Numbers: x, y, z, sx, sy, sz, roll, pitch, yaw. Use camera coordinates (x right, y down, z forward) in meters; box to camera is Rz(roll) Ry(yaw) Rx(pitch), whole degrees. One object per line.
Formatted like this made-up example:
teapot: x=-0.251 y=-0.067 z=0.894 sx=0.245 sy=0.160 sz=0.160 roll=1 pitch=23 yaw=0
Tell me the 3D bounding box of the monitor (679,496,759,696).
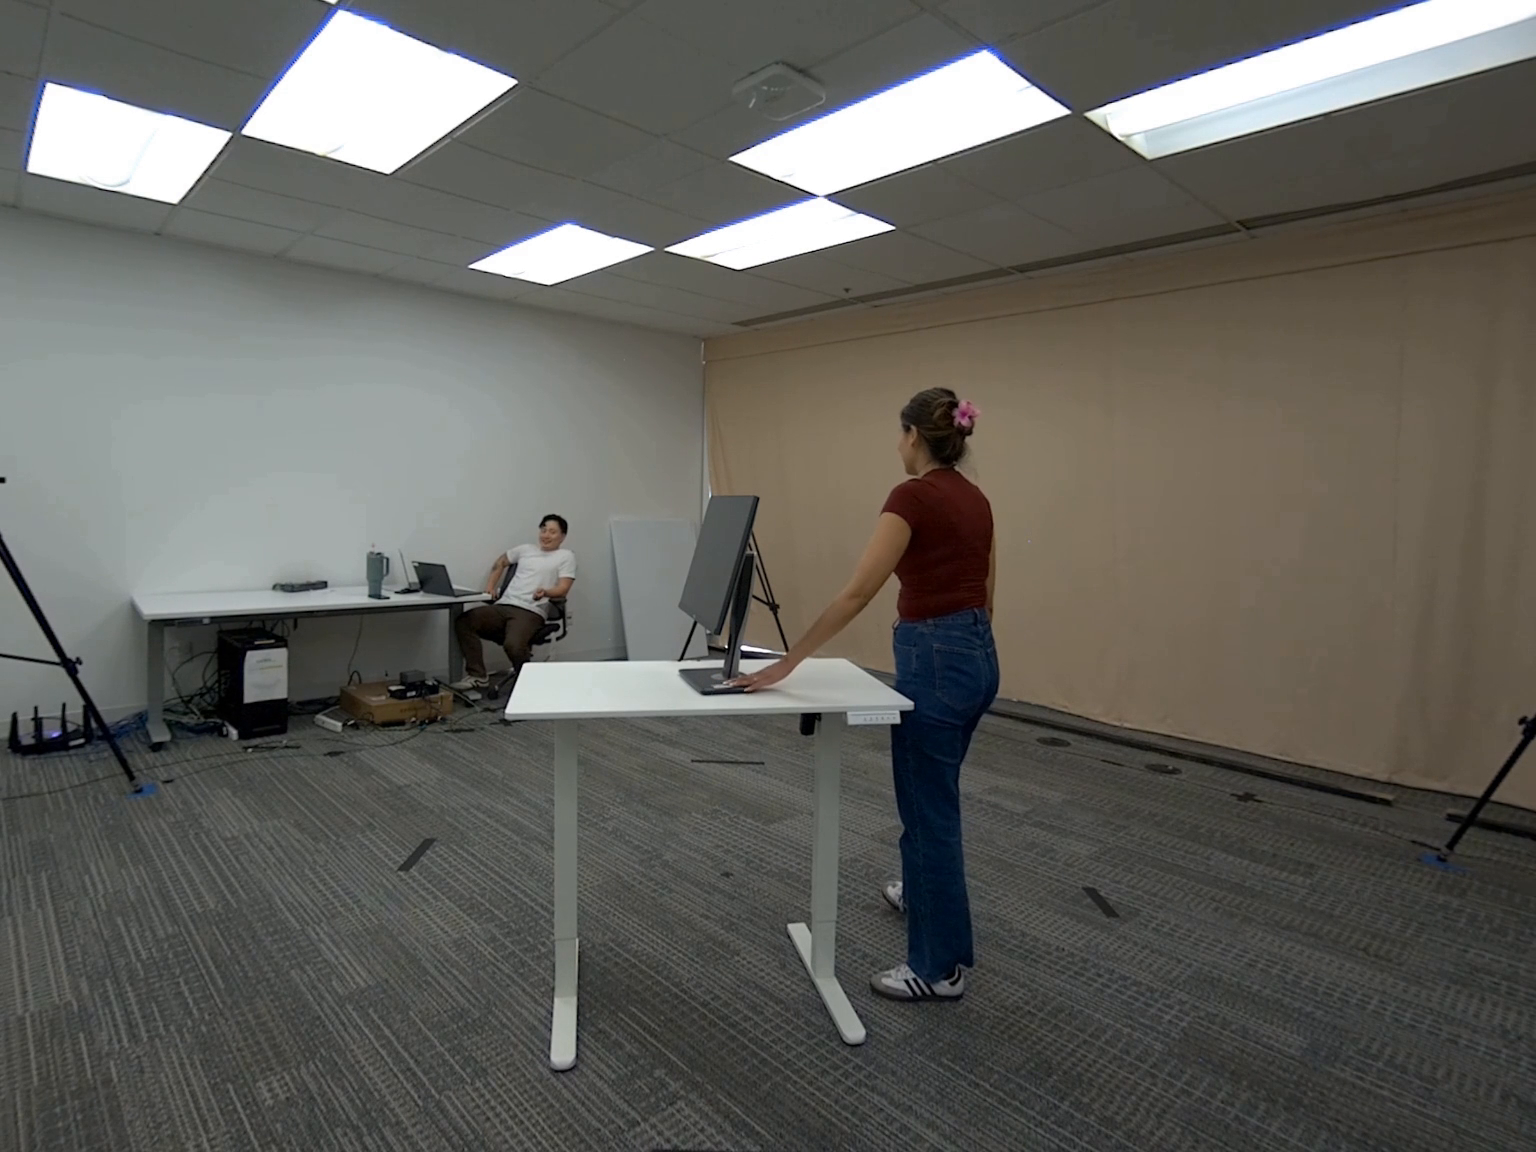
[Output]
monitor: x=-0.120 y=0.042 z=2.297 sx=0.184 sy=0.522 sz=0.547 roll=3 pitch=3 yaw=-18
